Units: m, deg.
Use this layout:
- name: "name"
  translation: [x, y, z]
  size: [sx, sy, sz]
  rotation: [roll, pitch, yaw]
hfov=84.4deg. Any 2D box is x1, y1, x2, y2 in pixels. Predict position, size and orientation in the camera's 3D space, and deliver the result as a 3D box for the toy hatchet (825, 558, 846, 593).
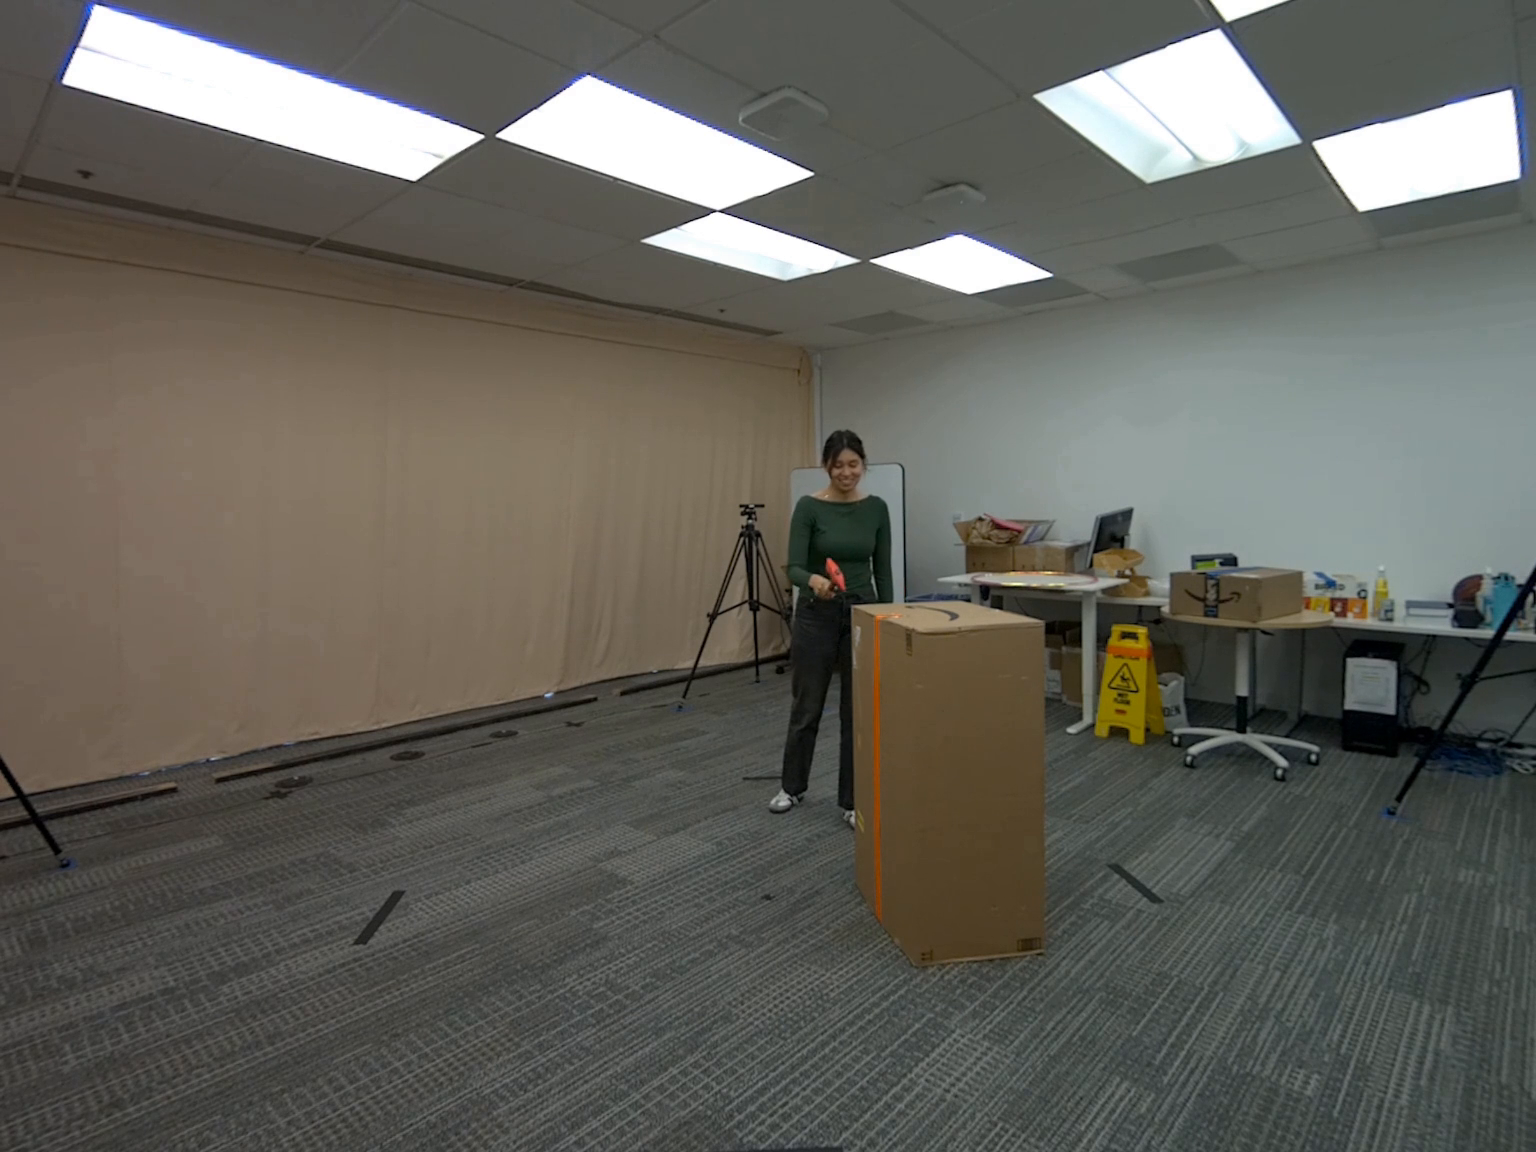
- name: "toy hatchet"
  translation: [0.233, 0.015, 3.159]
  size: [0.029, 0.131, 0.272]
  rotation: [-20, -1, -13]
